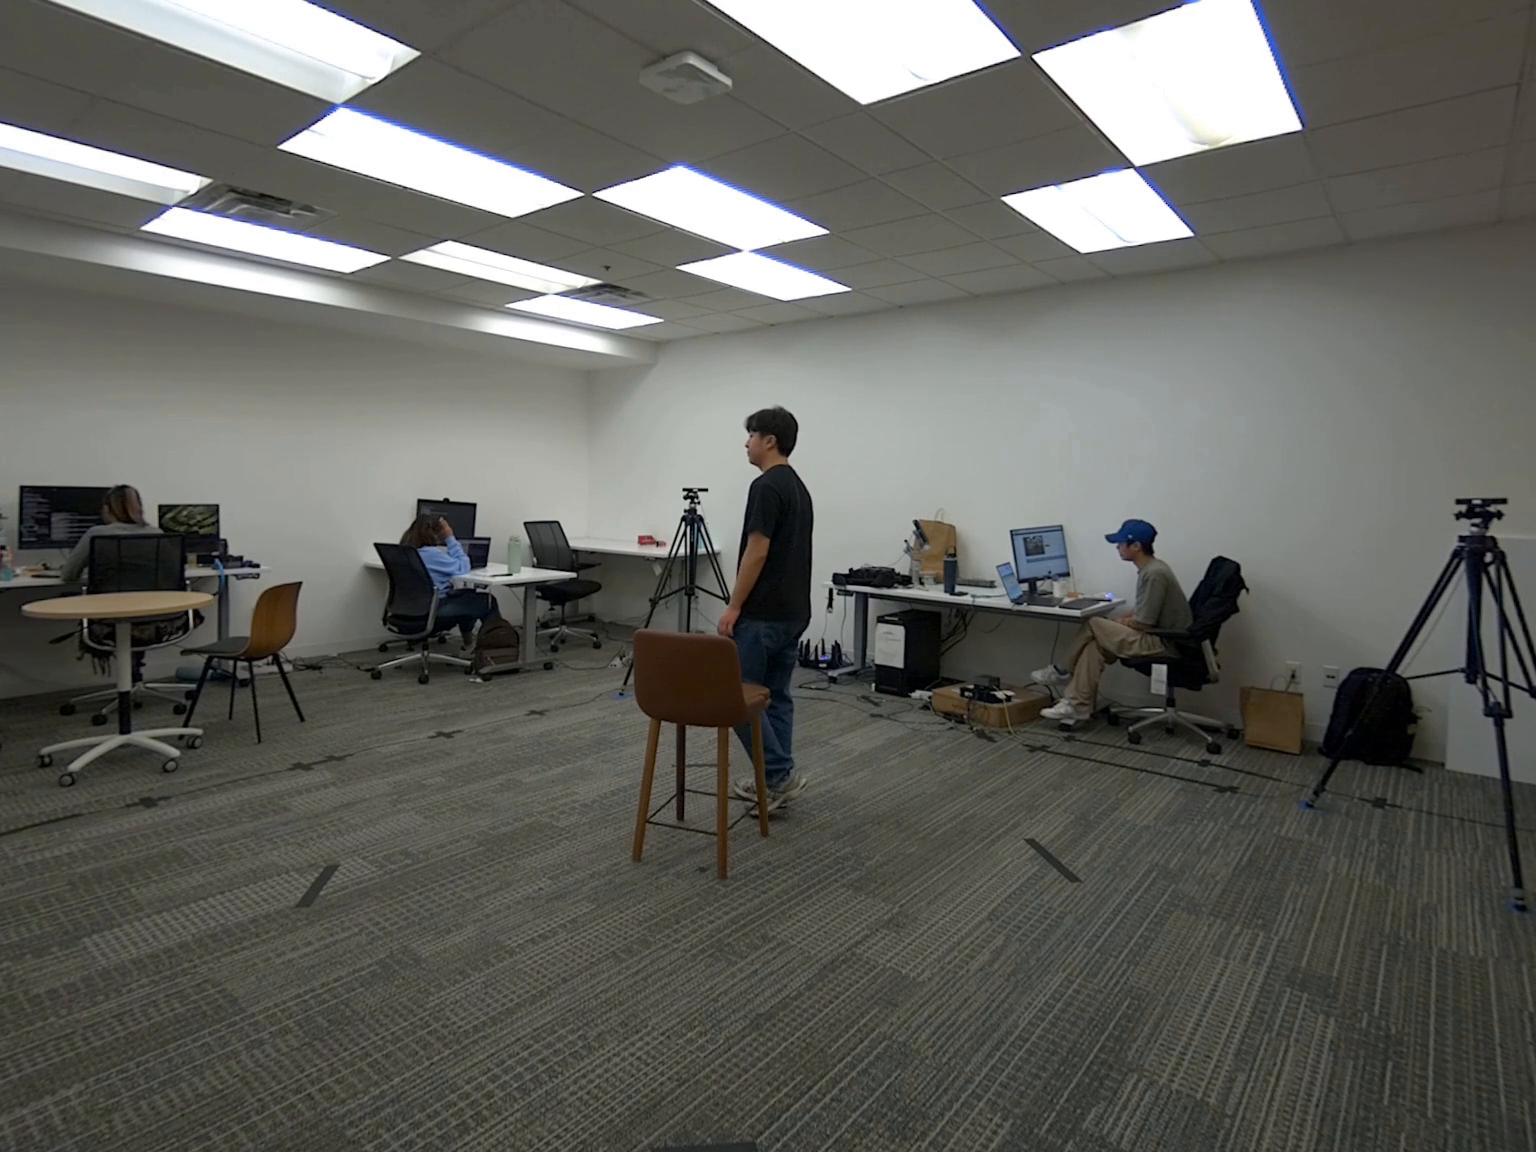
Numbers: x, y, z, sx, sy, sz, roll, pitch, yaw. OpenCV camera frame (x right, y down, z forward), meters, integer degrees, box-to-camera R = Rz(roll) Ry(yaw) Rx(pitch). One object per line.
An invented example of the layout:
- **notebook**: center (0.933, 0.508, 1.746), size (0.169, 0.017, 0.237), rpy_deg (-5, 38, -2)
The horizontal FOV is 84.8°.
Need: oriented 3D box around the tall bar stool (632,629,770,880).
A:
- **tall bar stool**: center (-0.267, 0.614, 3.286), size (0.467, 0.886, 0.459), rpy_deg (2, 5, 22)
